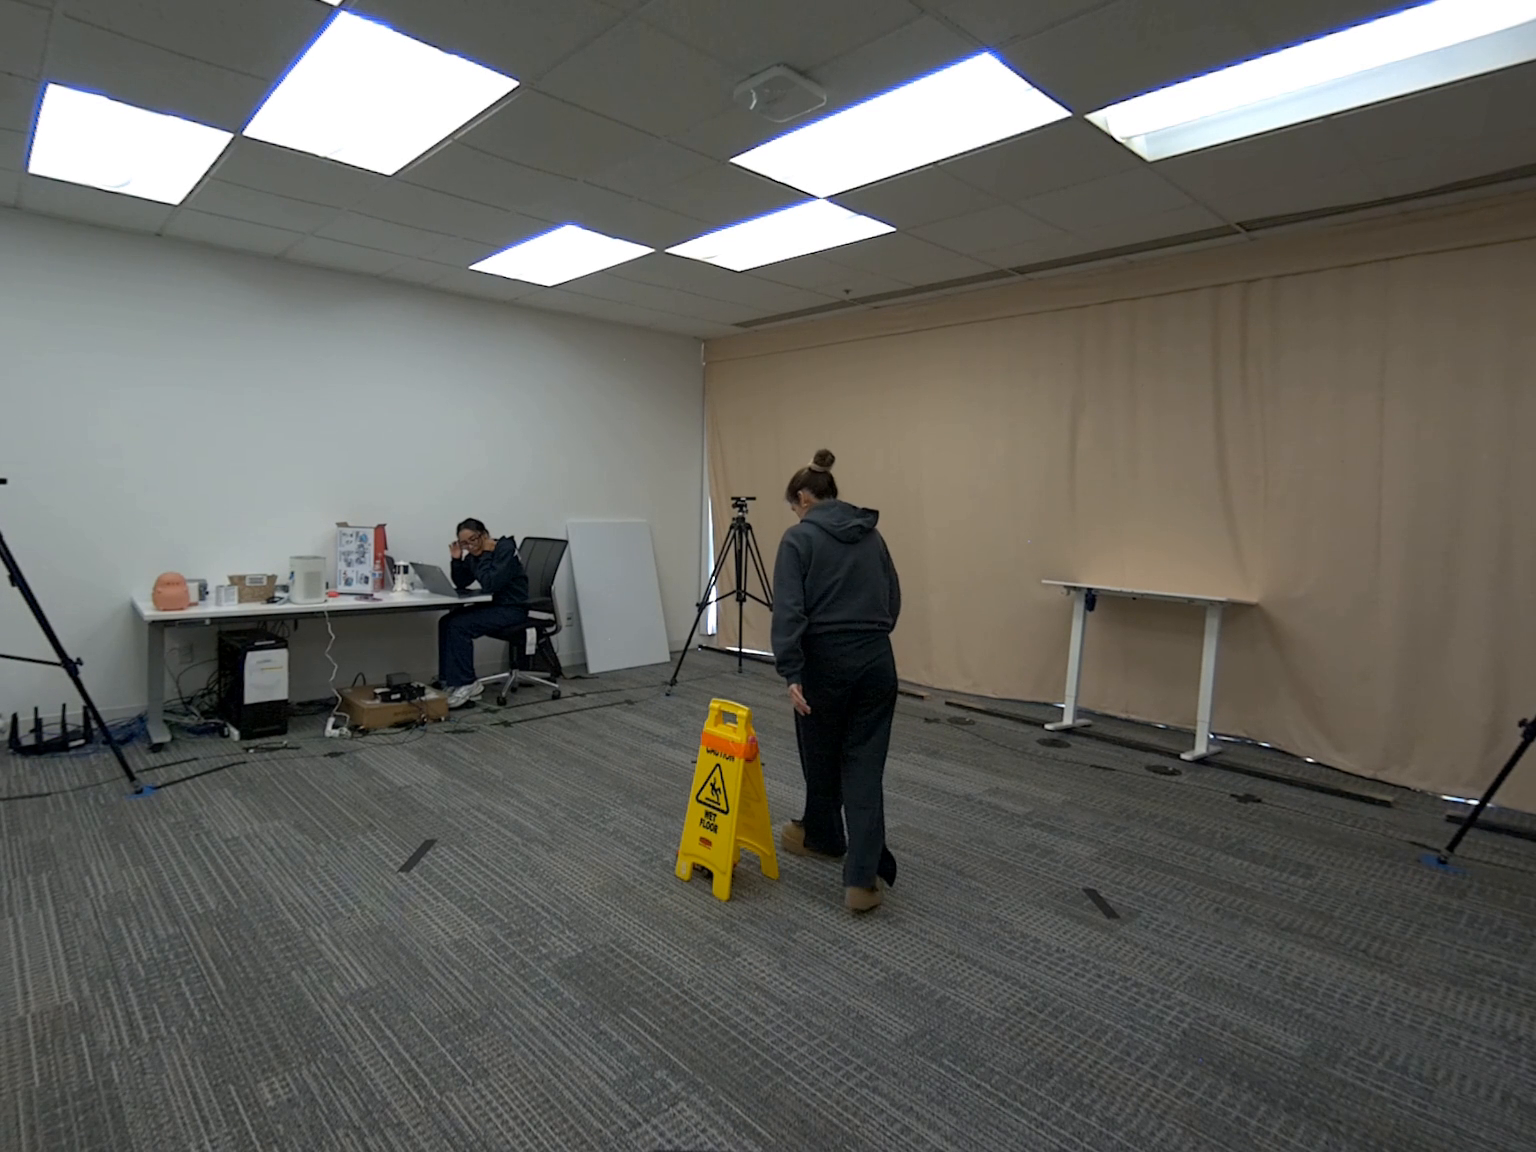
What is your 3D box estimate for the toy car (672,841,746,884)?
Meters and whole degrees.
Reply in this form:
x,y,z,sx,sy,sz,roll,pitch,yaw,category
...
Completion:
x,y,z,sx,sy,sz,roll,pitch,yaw,category
-0.225,1.069,3.172,0.260,0.083,0.127,-7,-3,43,toy car
